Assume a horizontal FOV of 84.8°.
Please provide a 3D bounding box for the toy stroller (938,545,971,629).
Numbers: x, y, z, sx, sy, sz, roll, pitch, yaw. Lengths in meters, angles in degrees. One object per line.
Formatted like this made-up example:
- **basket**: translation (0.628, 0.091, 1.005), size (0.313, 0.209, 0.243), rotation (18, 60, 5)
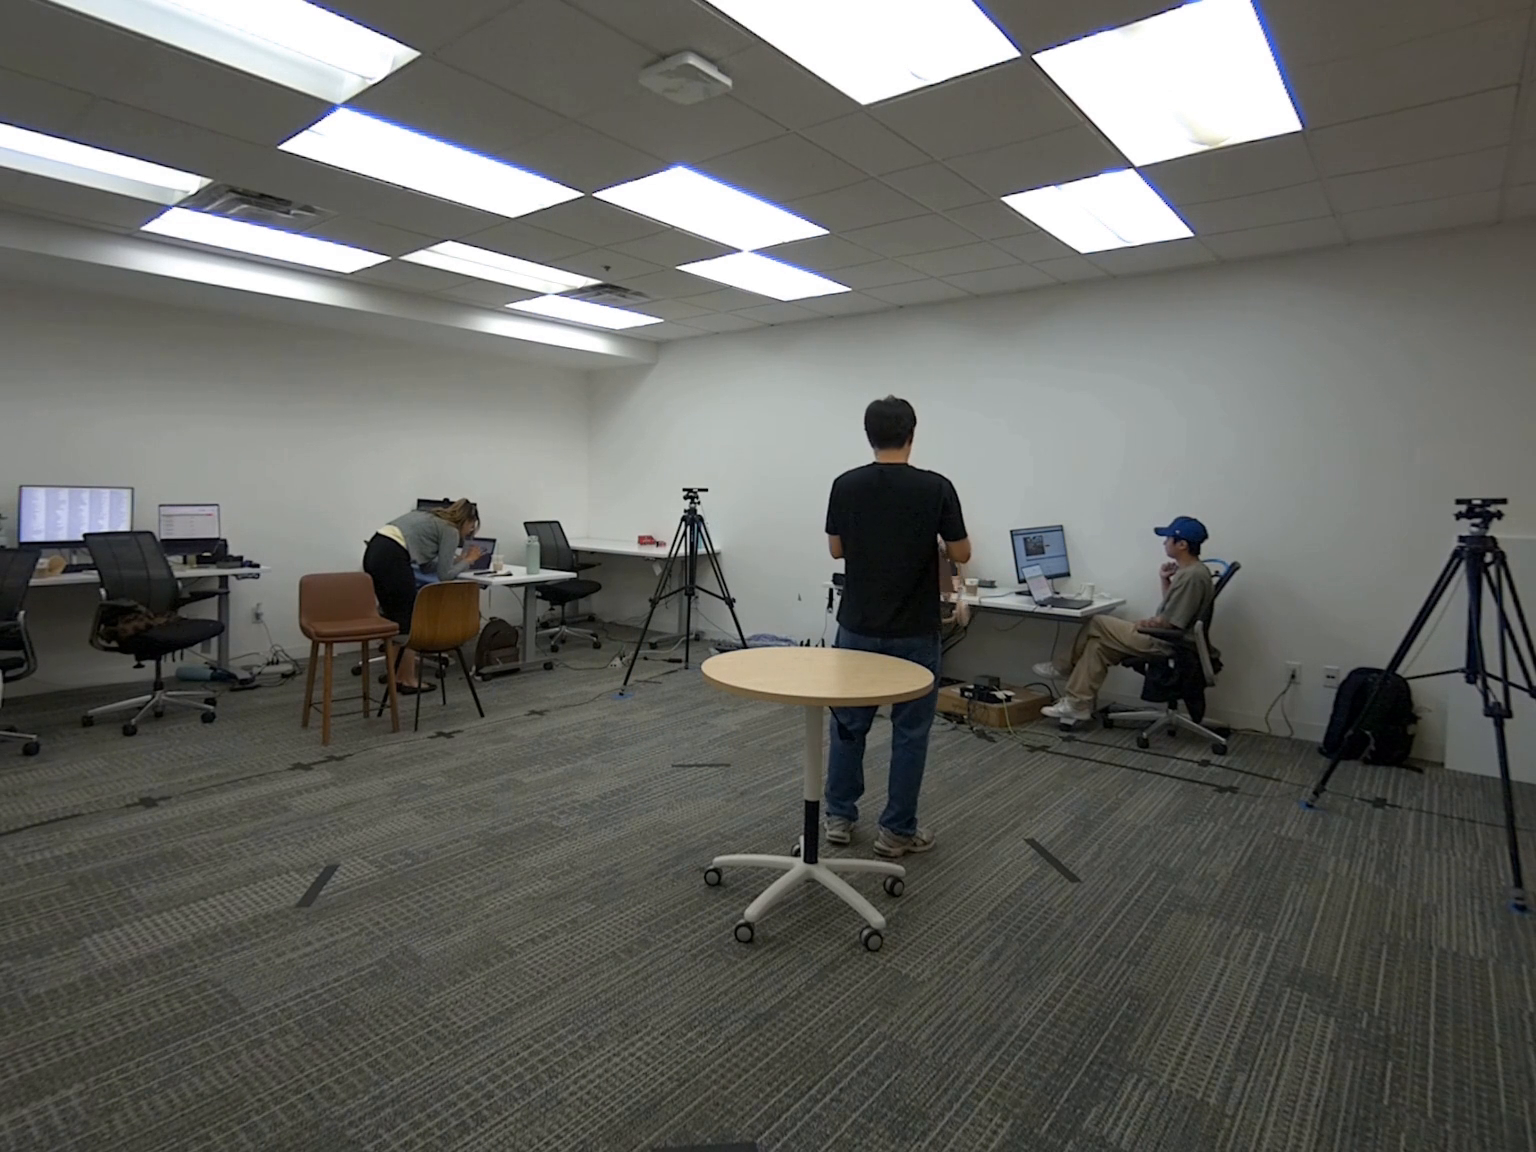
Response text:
- **toy stroller**: translation (0.715, -0.025, 3.741), size (0.289, 0.519, 0.342), rotation (2, 34, 29)
